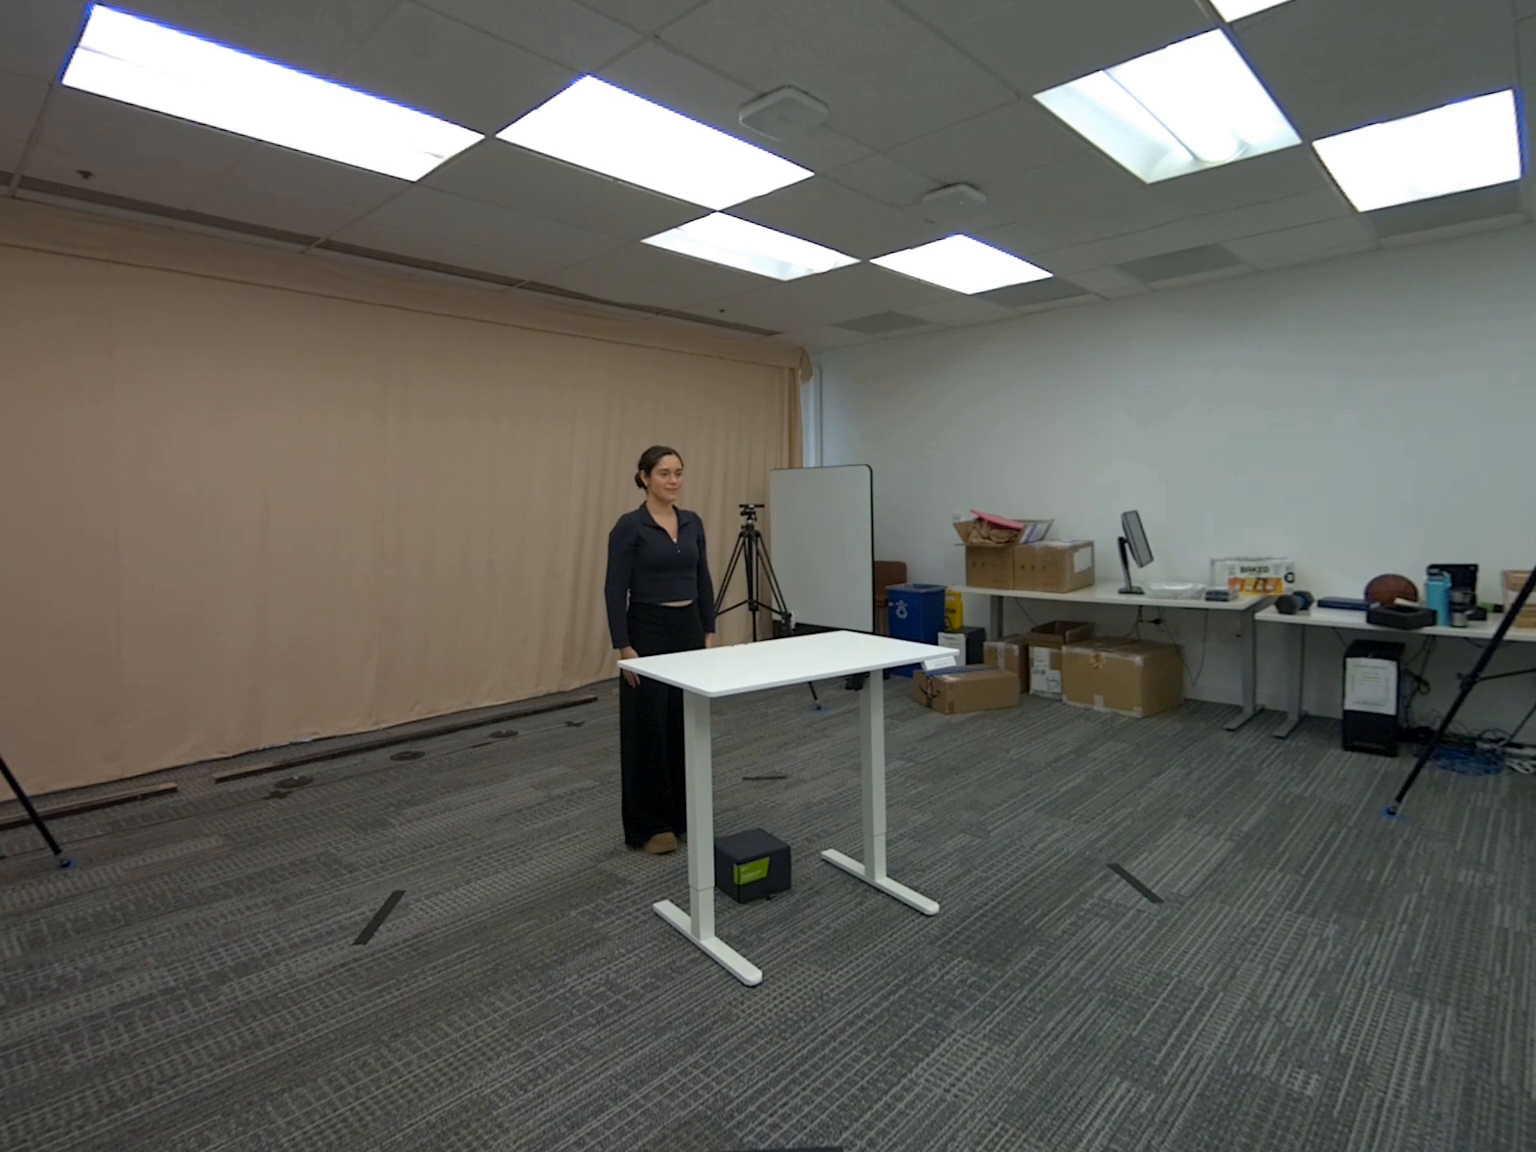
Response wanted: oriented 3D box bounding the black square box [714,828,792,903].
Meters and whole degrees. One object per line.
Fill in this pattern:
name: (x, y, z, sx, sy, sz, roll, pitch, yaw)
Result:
black square box: (-0.064, 1.050, 3.074, 0.222, 0.155, 0.223, -4, 5, -32)
